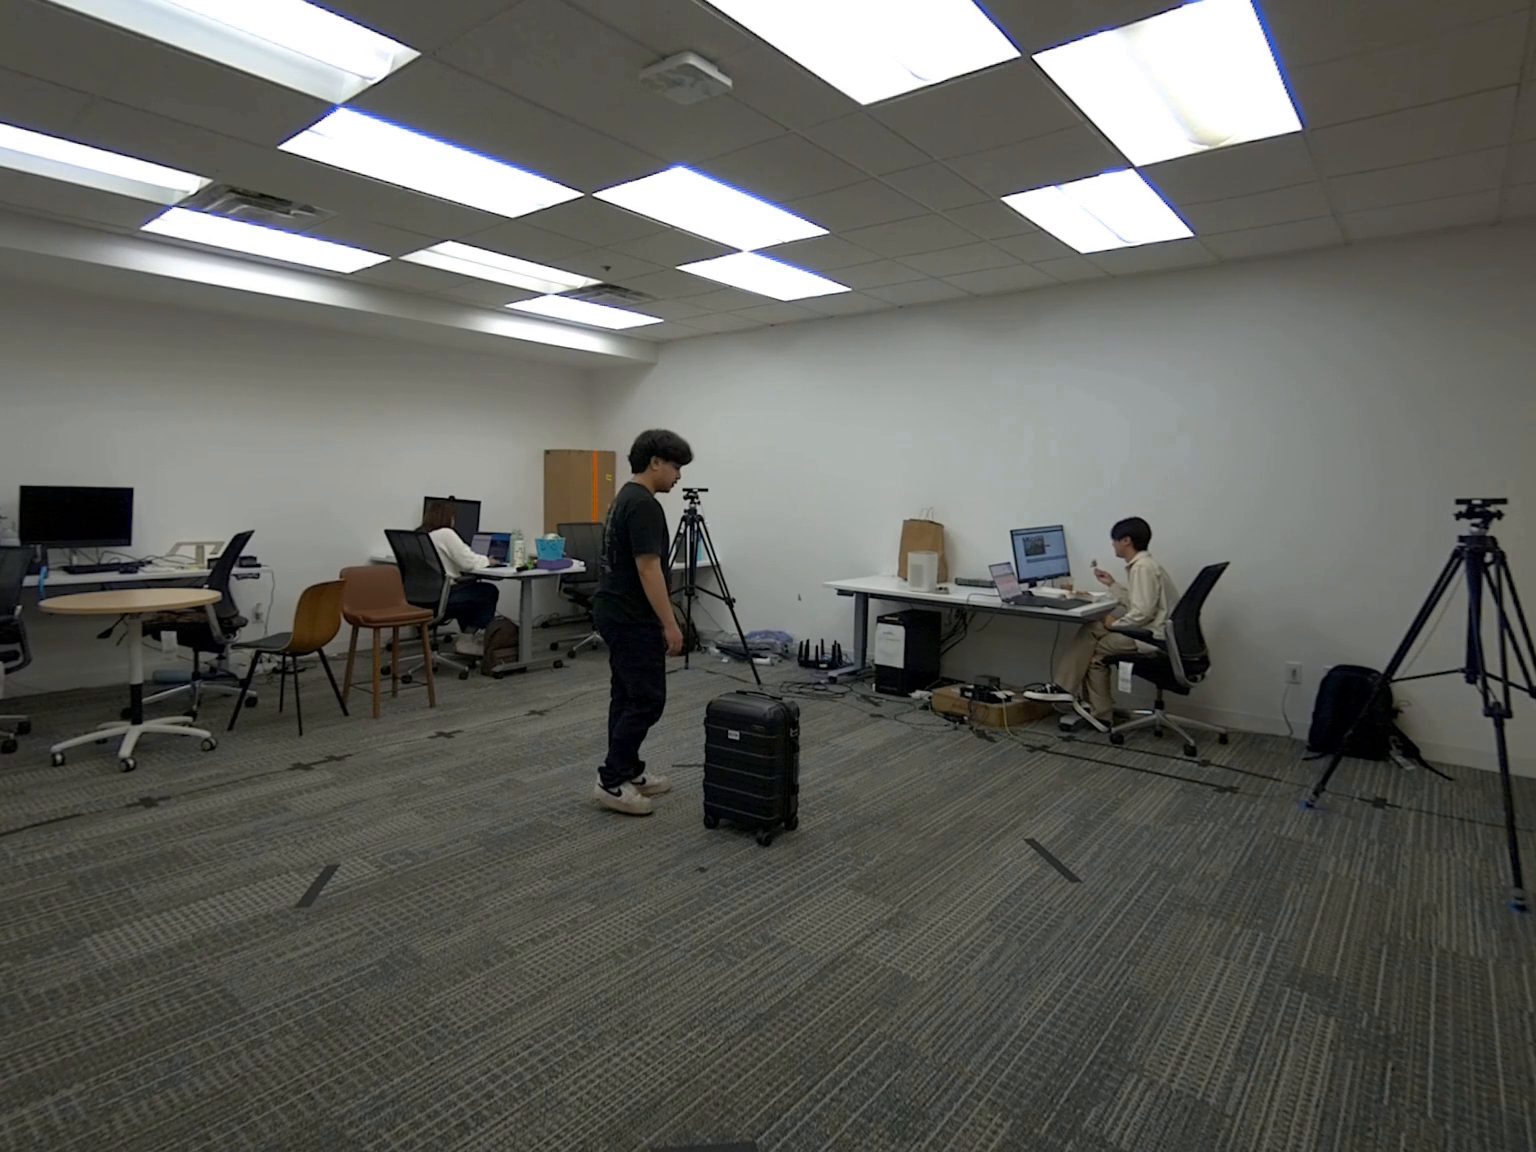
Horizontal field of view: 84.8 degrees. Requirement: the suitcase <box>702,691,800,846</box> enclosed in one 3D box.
[{"bbox_3d":[-0.071,0.758,3.503,0.387,0.548,0.241,4,3,32],"label":"suitcase"}]
